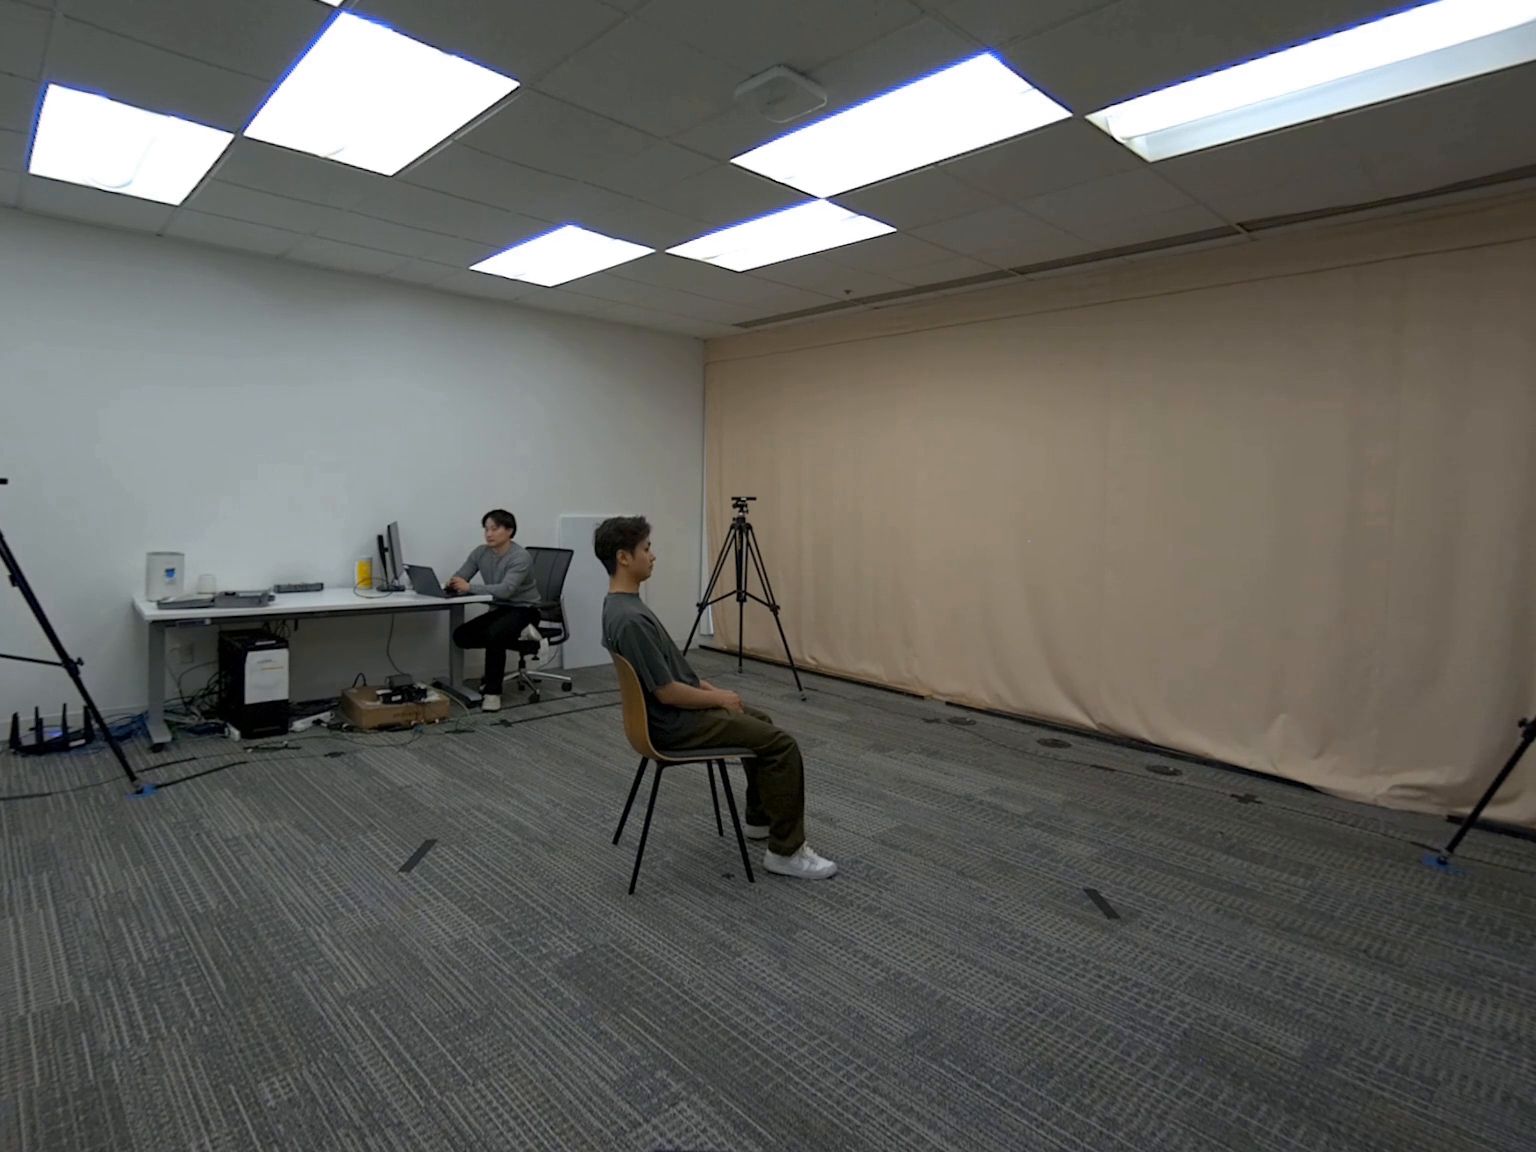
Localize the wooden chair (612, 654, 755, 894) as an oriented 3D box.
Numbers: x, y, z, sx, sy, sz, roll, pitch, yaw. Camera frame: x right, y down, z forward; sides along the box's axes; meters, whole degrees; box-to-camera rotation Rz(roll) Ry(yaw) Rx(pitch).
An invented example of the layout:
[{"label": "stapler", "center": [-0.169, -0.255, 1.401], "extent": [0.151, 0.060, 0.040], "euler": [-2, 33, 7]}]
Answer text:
[{"label": "wooden chair", "center": [-0.328, 0.662, 3.182], "extent": [0.517, 0.875, 0.485], "euler": [-4, 4, -16]}]
